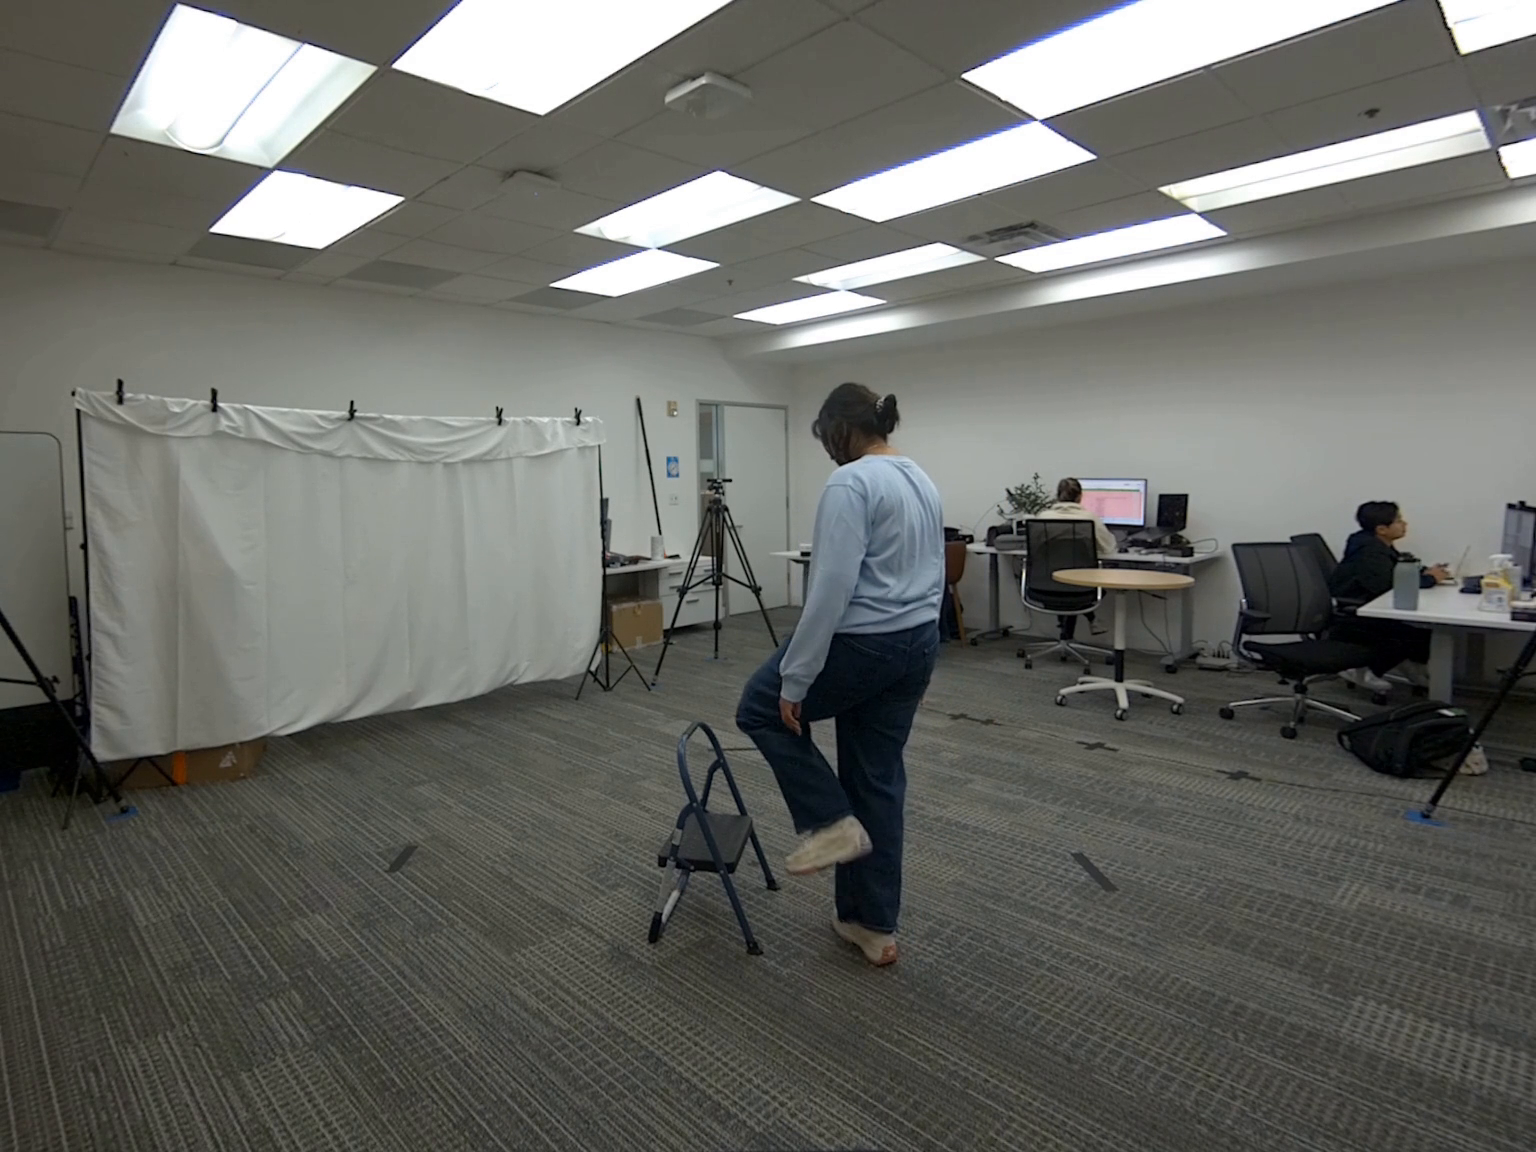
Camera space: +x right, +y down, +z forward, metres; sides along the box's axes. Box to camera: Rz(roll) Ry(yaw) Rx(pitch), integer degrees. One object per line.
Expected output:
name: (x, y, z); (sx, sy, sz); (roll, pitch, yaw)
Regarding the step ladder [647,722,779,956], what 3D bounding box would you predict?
step ladder: (-0.169, 0.789, 2.732); (0.353, 0.604, 0.428); (0, 5, 10)
